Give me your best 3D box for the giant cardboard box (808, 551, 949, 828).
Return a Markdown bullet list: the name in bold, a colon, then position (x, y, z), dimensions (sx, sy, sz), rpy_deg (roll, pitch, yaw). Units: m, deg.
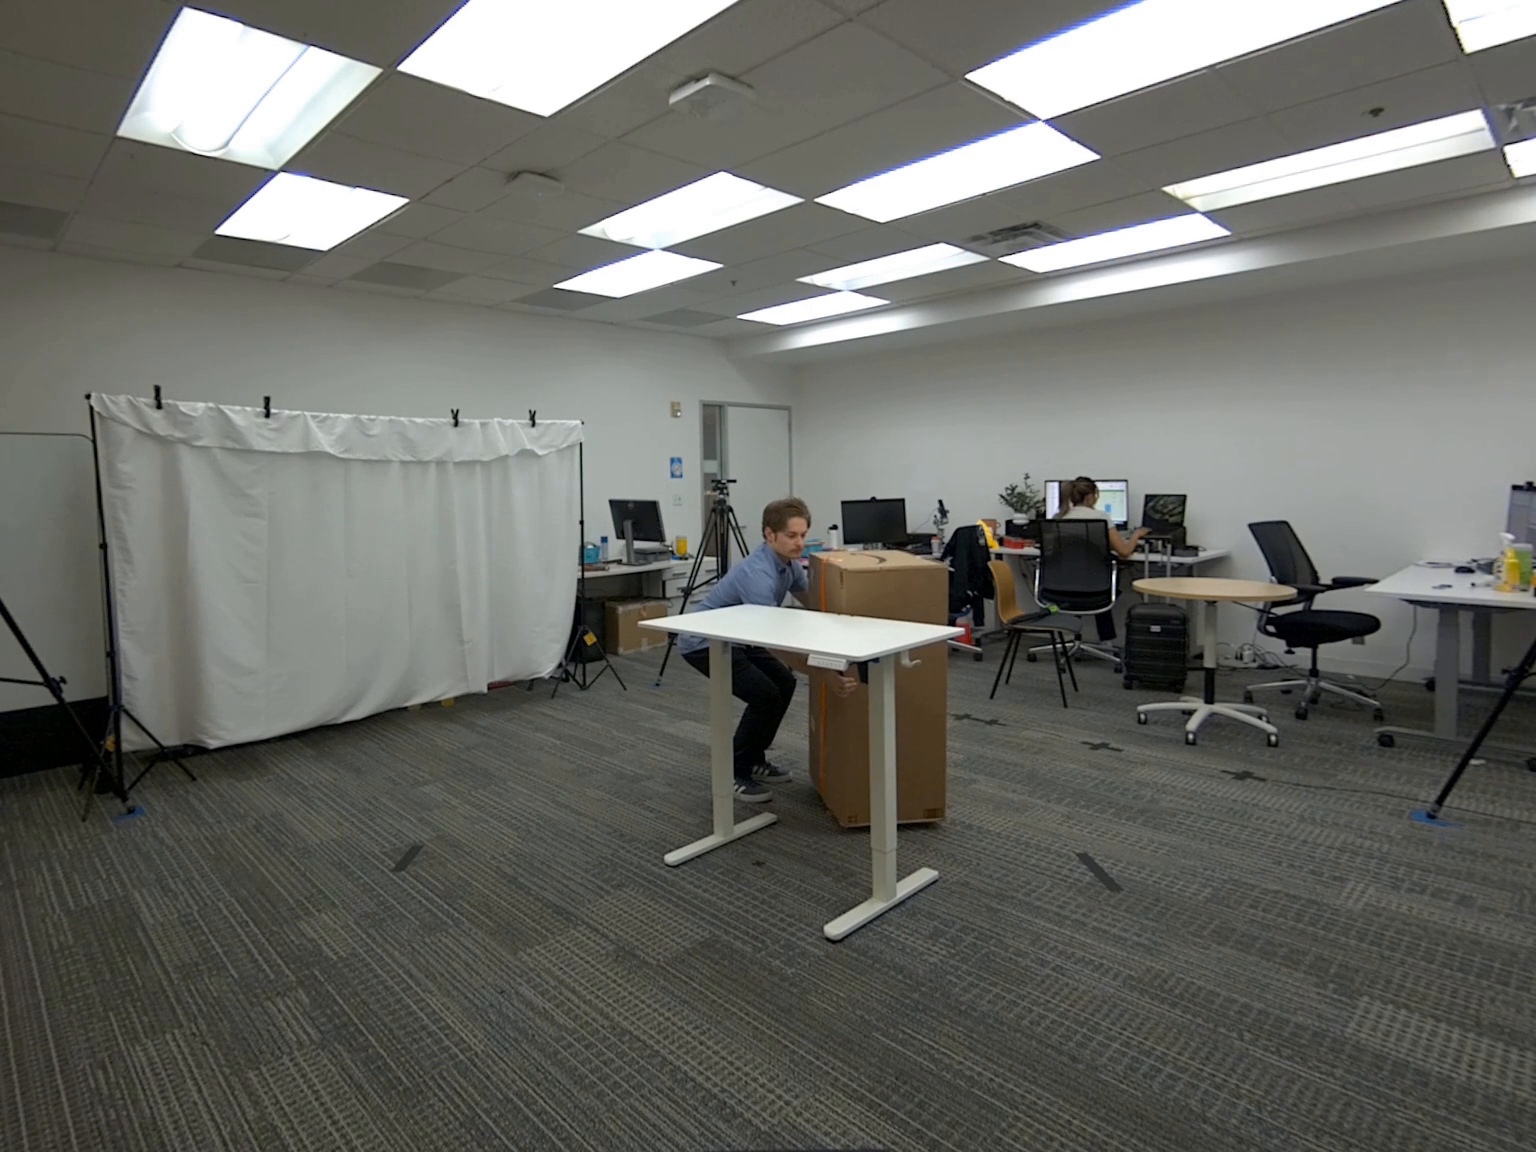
- **giant cardboard box**: position (0.444, 0.433, 3.595), dimensions (0.422, 1.021, 0.586), rpy_deg (-1, 6, -11)
